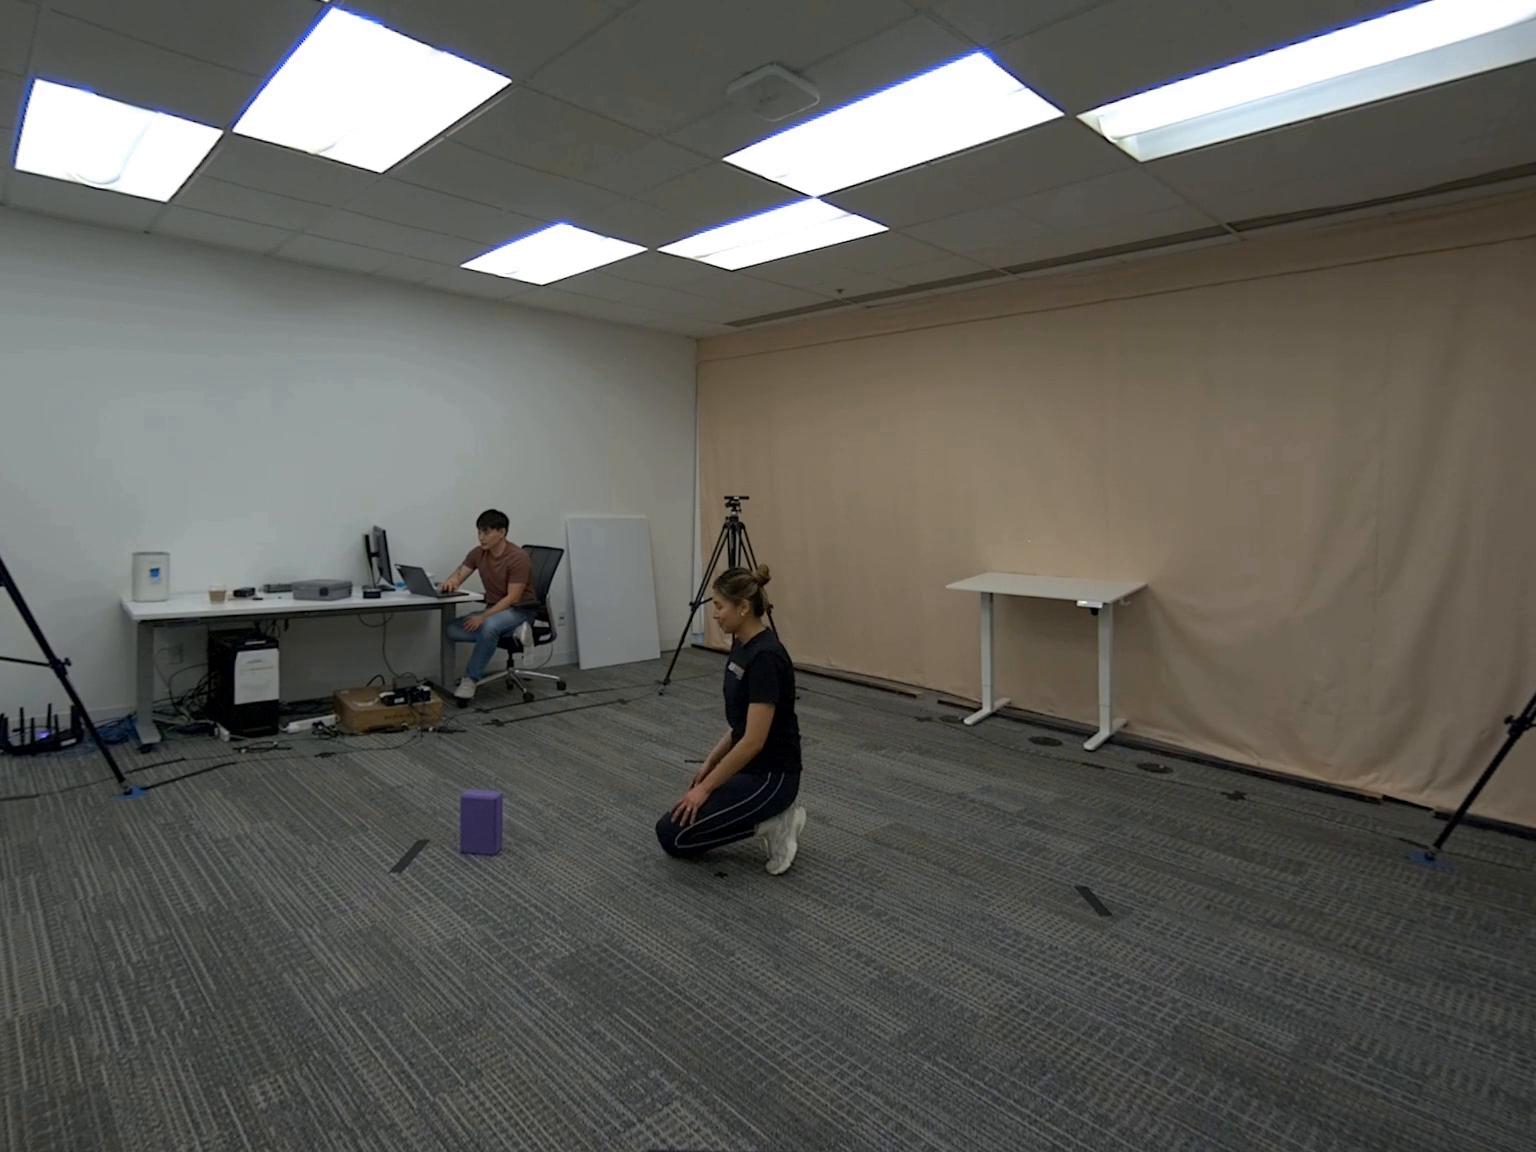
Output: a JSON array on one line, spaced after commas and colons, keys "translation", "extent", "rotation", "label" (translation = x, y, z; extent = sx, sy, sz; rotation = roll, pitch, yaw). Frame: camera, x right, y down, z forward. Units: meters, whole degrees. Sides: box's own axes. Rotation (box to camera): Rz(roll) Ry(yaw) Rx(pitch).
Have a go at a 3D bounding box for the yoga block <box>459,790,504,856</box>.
[{"translation": [-1.112, 0.949, 3.261], "extent": [0.150, 0.229, 0.076], "rotation": [2, 4, 8], "label": "yoga block"}]
